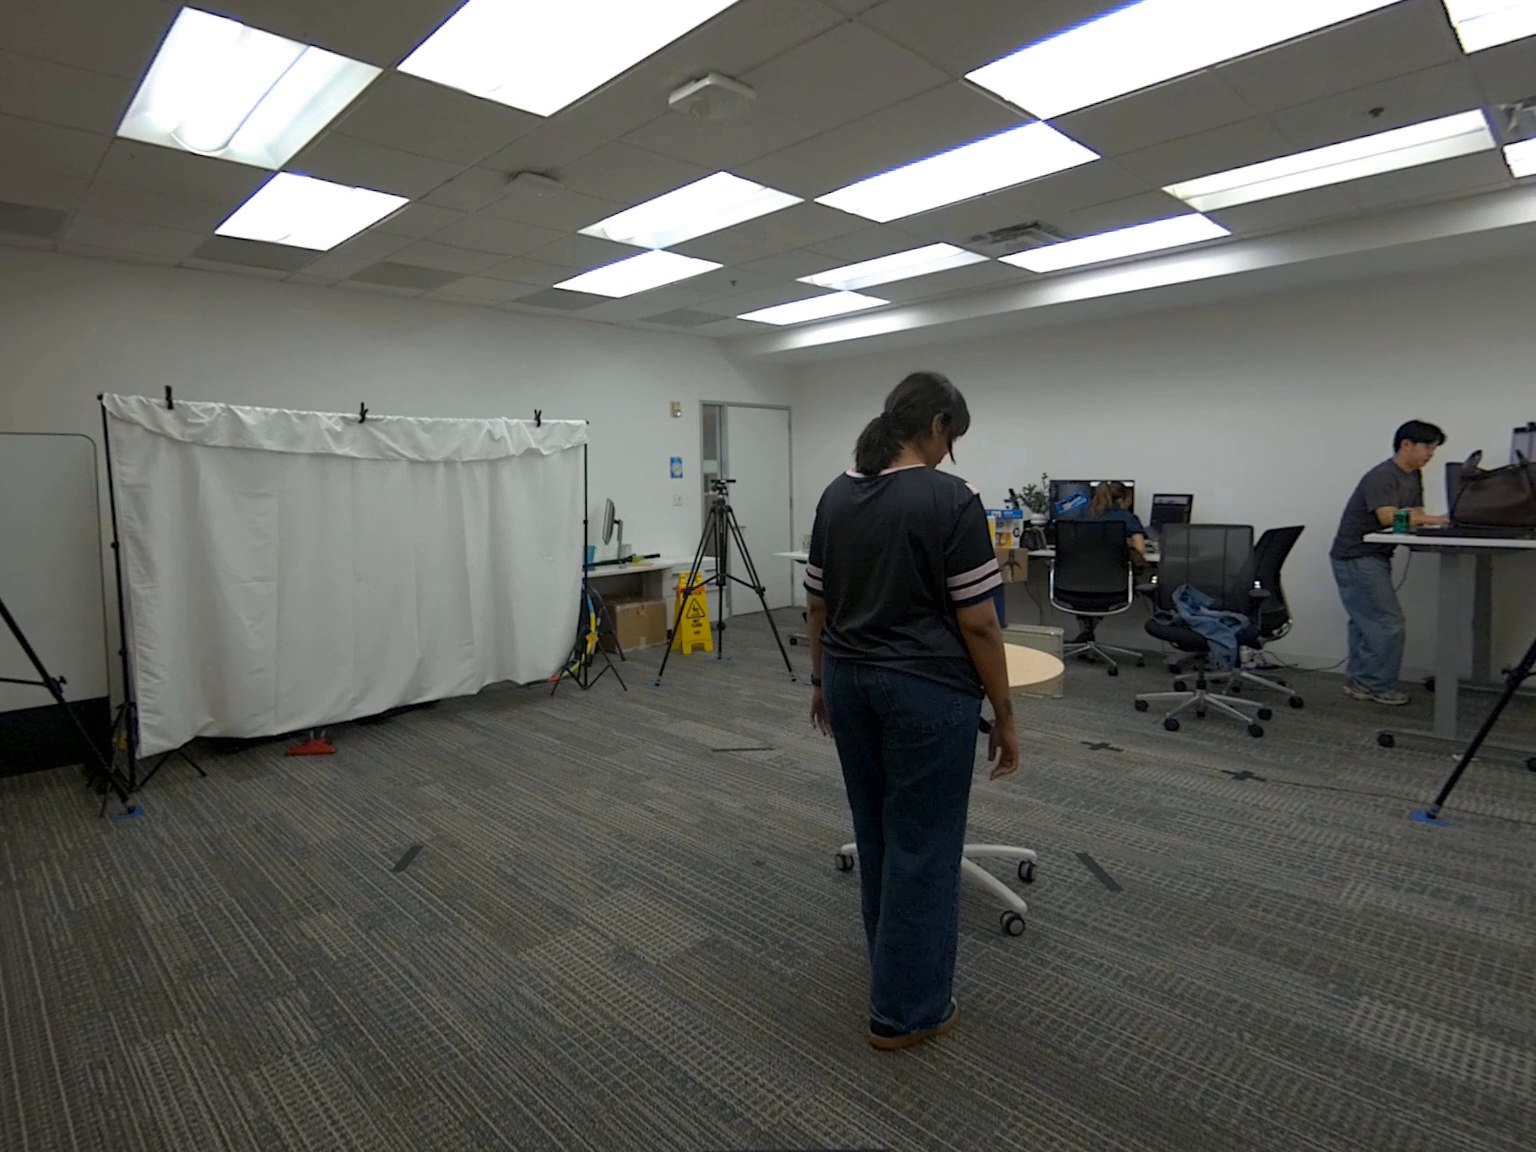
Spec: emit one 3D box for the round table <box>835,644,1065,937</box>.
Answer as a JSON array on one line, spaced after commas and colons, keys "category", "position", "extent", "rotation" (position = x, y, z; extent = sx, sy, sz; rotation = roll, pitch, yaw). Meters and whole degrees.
[{"category": "round table", "position": [0.591, 0.676, 2.876], "extent": [0.763, 0.791, 0.768], "rotation": [-1, 5, -2]}]
